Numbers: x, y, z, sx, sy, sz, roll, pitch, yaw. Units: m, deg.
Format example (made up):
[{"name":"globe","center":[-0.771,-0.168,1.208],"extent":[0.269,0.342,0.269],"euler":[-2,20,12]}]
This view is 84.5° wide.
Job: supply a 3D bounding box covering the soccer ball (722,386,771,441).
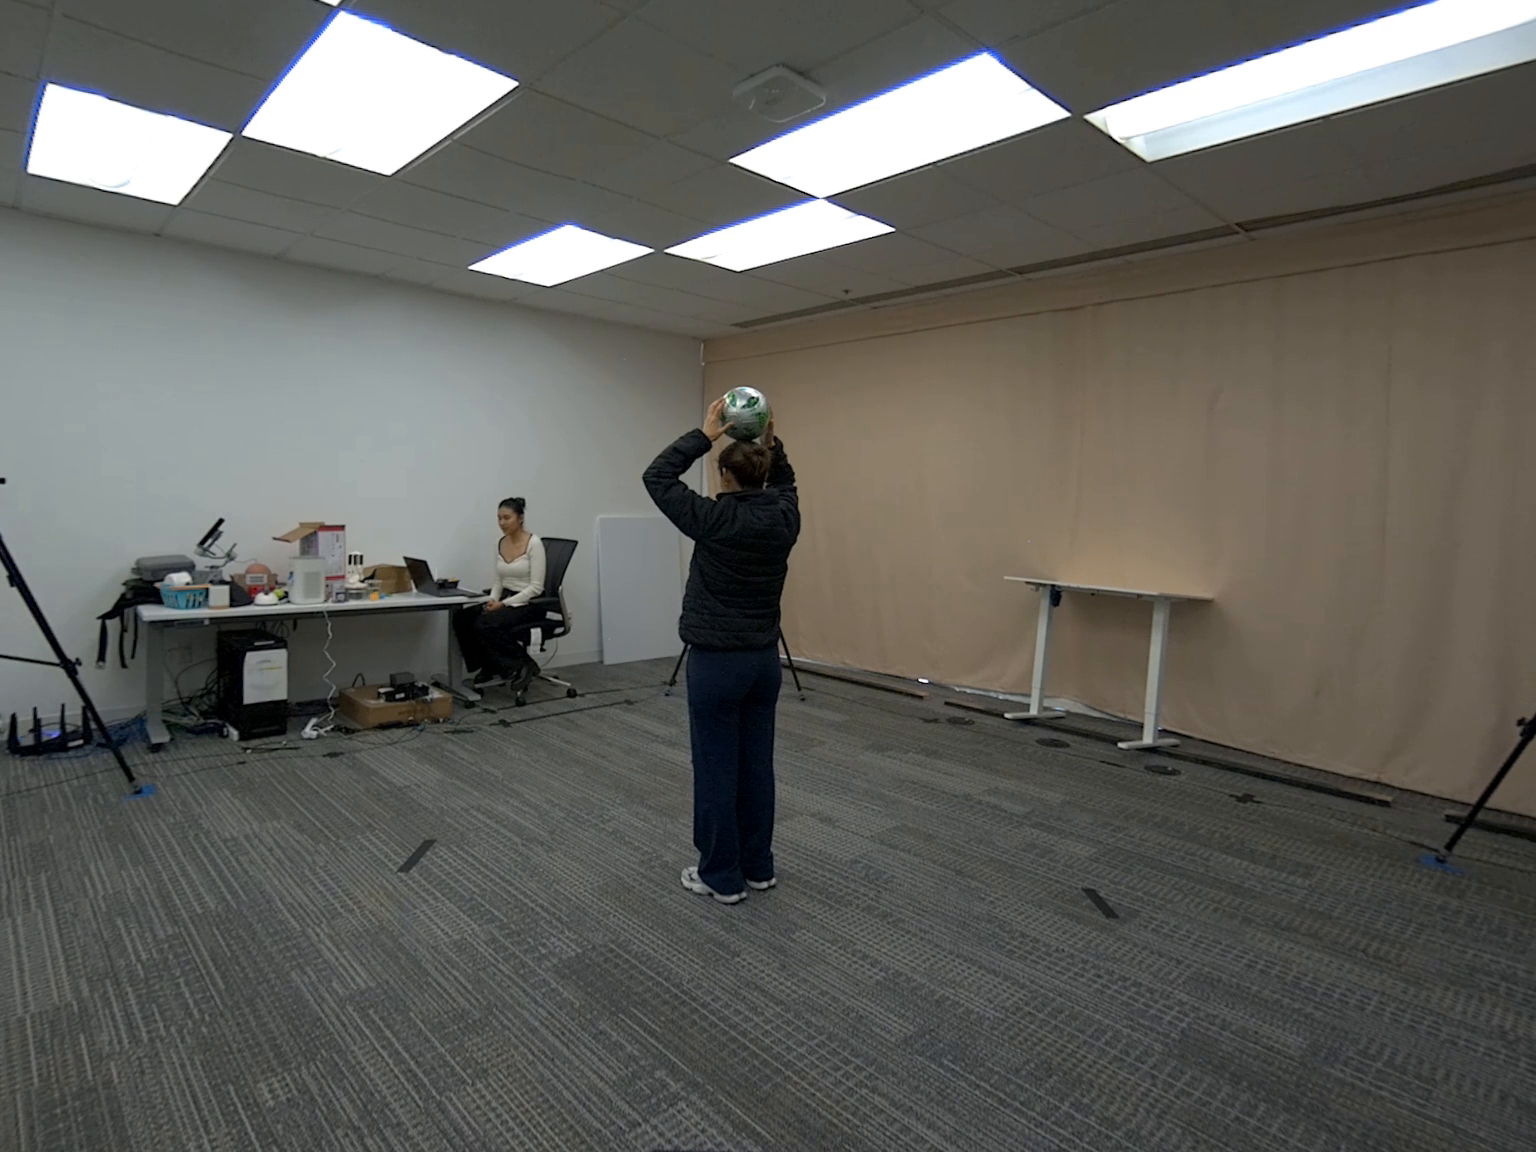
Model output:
[{"name":"soccer ball","center":[-0.084,-0.563,2.938],"extent":[0.187,0.187,0.188],"euler":[1,4,-1]}]
